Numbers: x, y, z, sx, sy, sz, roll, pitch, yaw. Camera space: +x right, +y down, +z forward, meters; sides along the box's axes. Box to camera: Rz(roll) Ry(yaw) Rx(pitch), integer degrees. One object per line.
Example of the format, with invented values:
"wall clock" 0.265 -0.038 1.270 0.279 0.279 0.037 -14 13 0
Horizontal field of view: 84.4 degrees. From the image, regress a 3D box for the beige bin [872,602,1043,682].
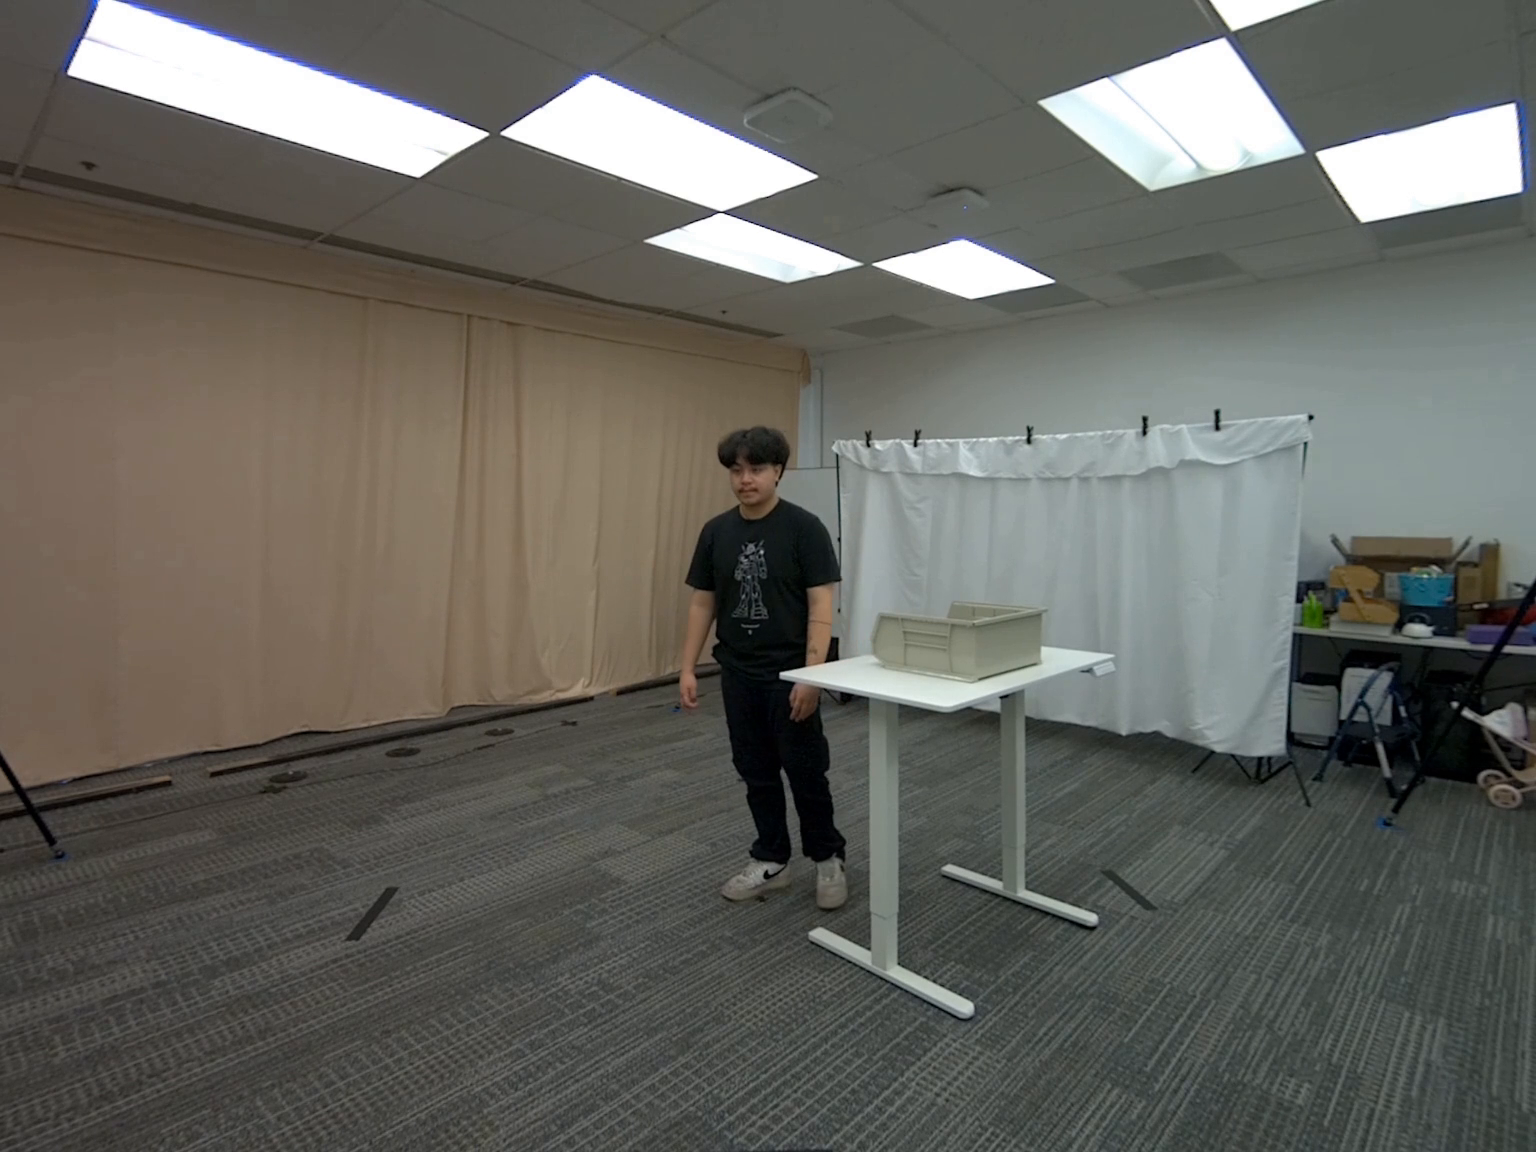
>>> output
"beige bin" 0.611 0.200 2.667 0.409 0.188 0.390 -4 7 -42
